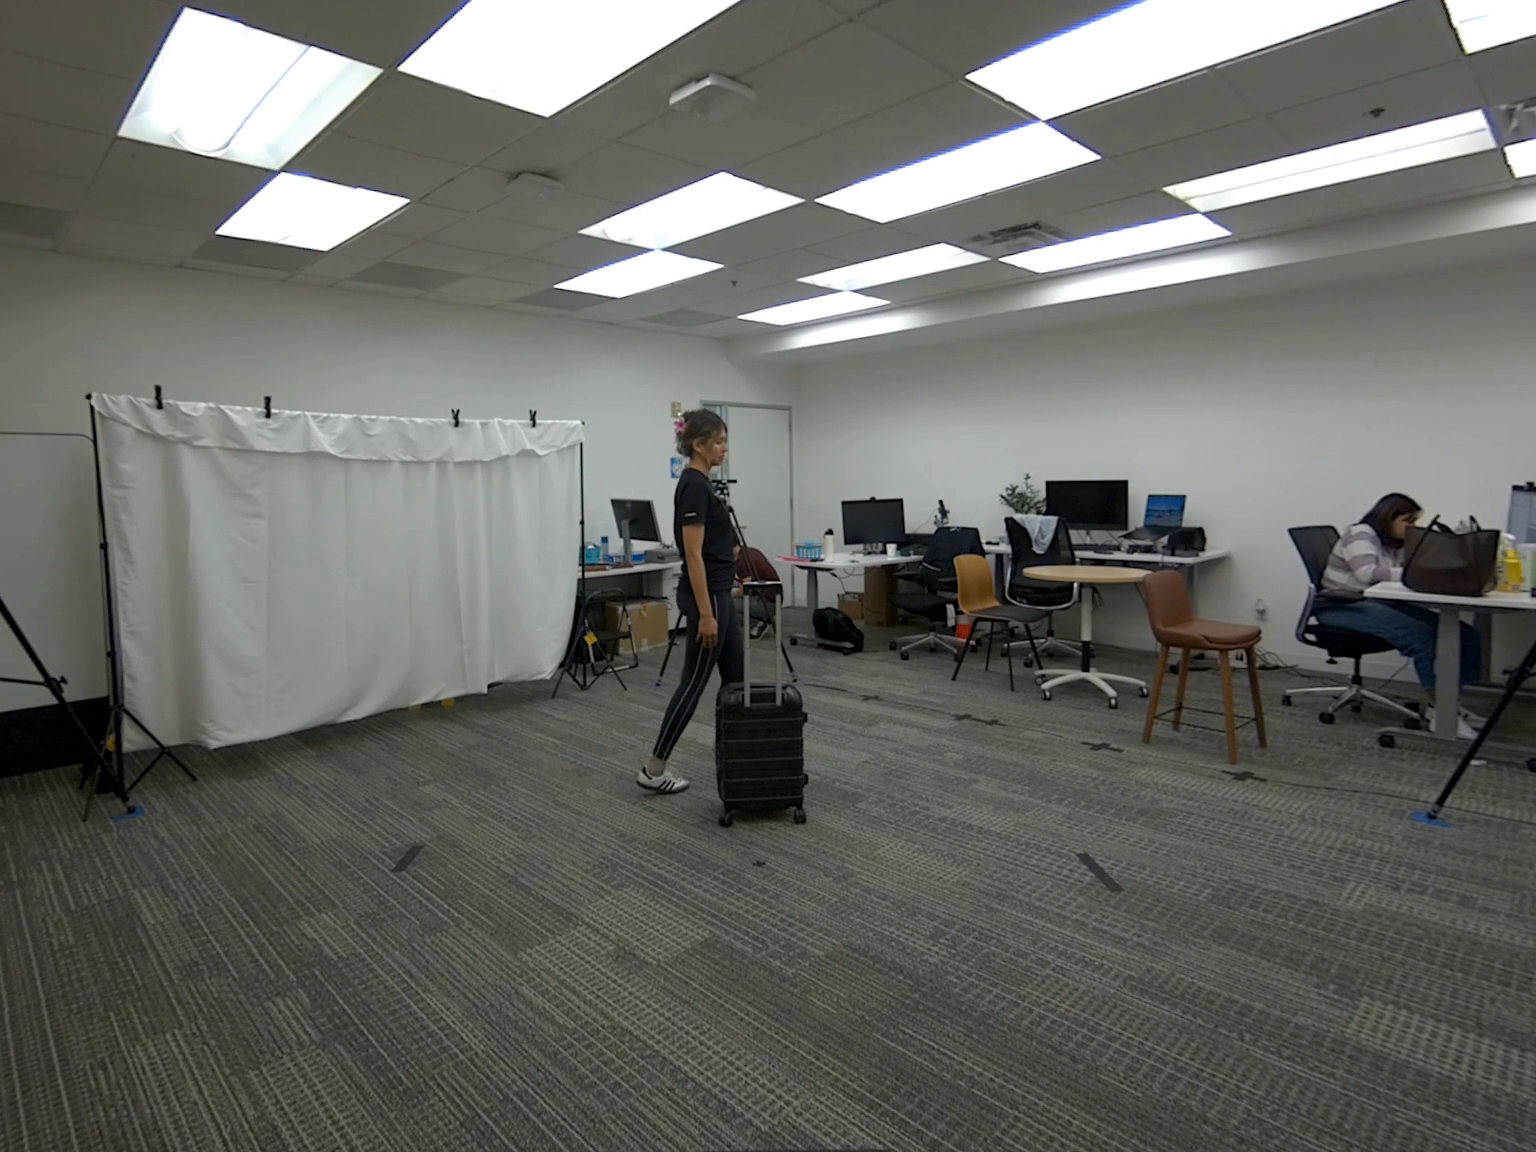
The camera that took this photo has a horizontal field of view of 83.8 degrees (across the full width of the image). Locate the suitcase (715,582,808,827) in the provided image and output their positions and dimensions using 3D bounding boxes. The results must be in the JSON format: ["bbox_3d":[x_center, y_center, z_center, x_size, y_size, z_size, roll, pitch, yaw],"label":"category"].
[{"bbox_3d":[-0.033,0.519,3.572,0.382,0.978,0.258,-1,1,-6],"label":"suitcase"}]
